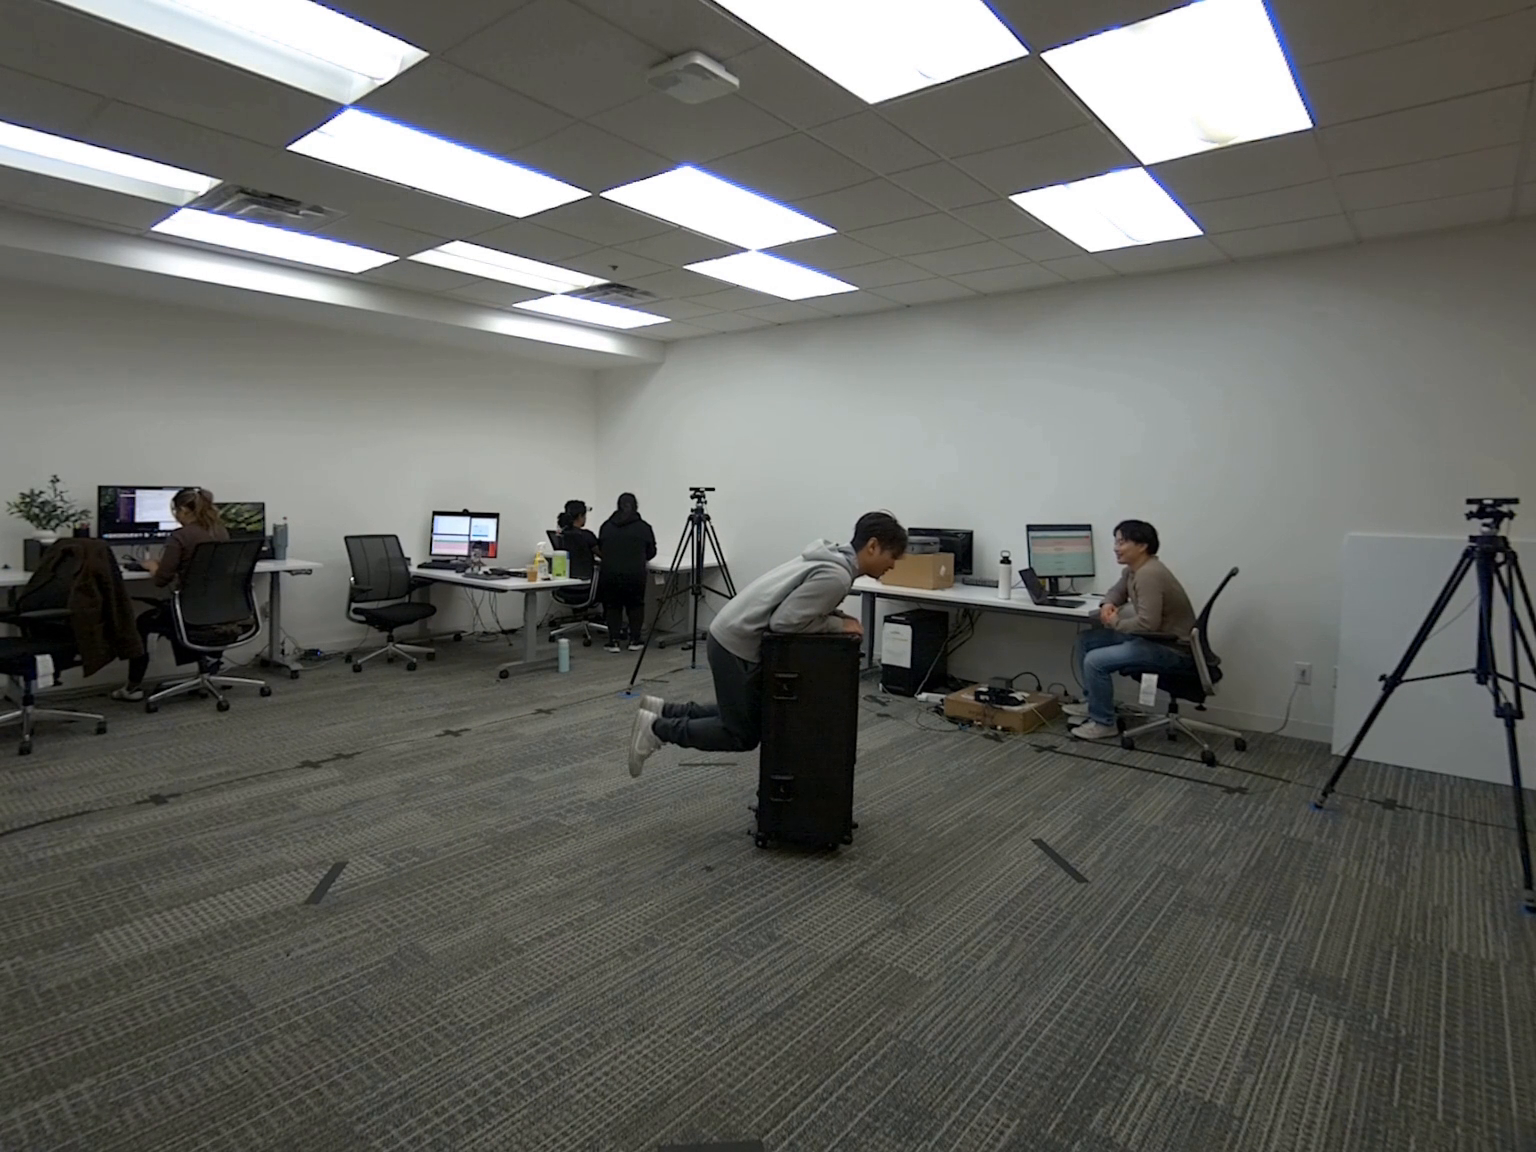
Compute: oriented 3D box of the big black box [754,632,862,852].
[{"bbox_3d":[0.147,0.625,3.415,0.397,0.859,0.522,2,3,0],"label":"big black box"}]
